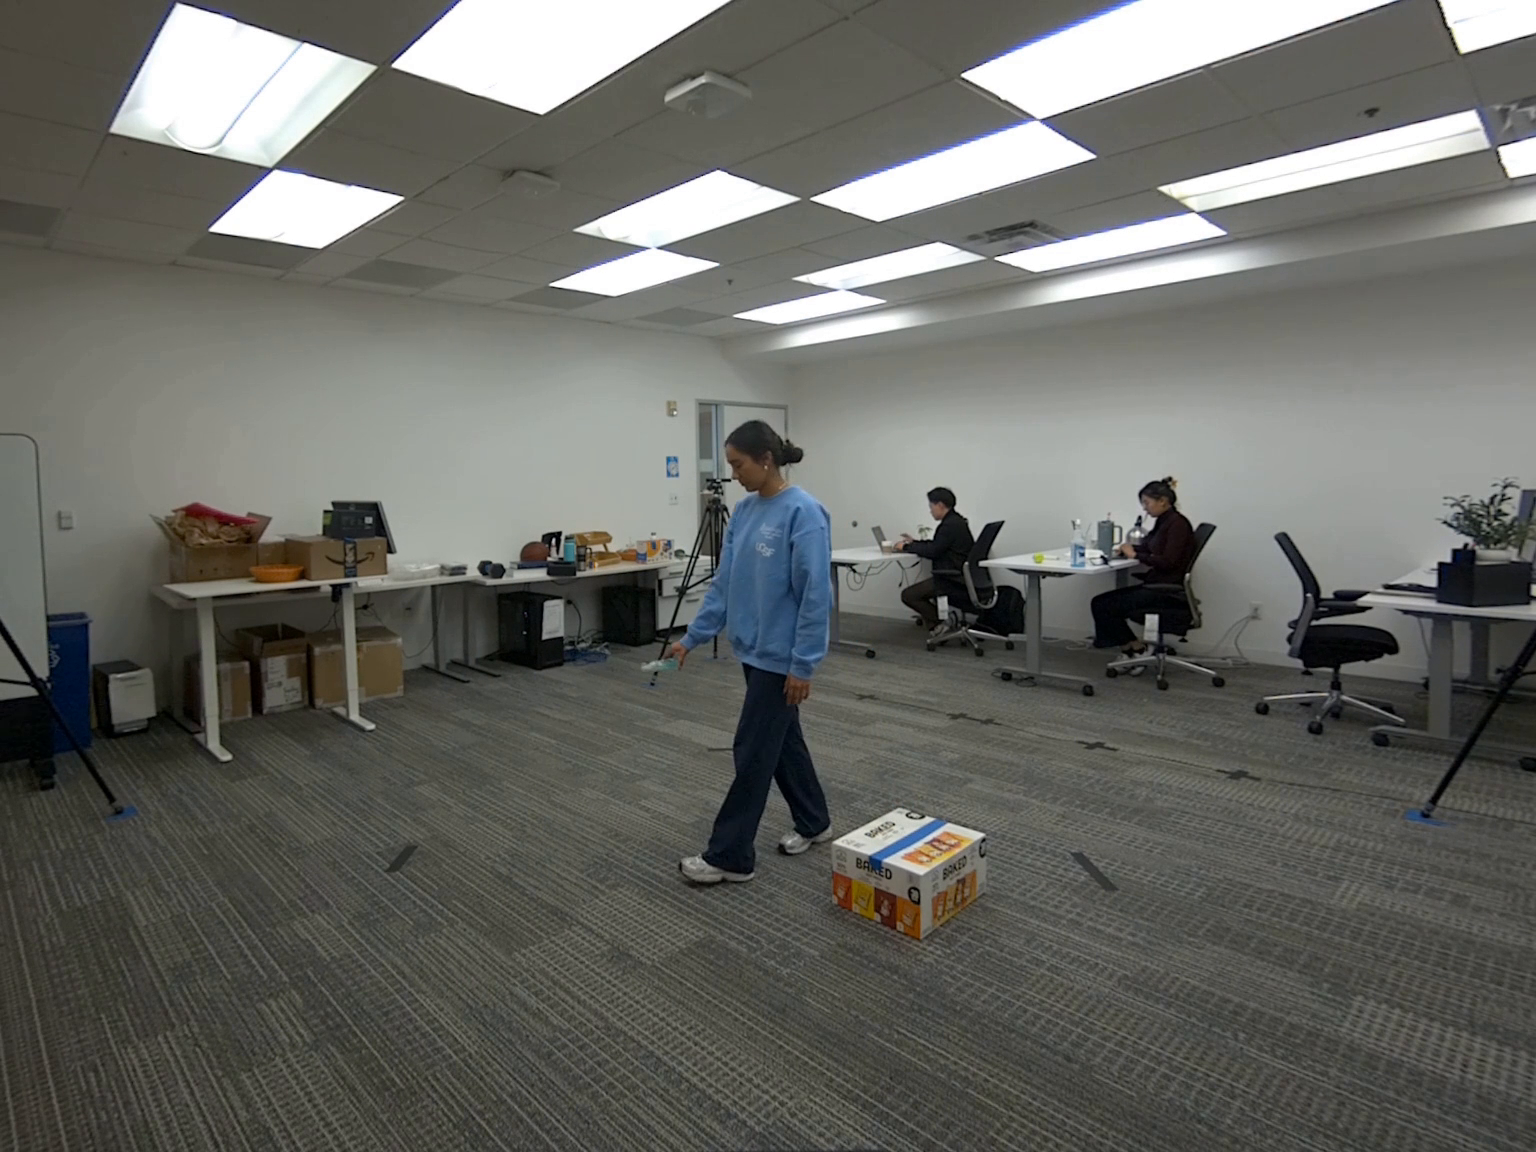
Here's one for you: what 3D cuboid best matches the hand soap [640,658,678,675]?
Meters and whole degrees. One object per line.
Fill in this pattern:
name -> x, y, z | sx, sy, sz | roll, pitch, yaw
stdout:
hand soap -> -0.386, 0.337, 3.194 | 0.163, 0.087, 0.043 | 4, -46, -50
